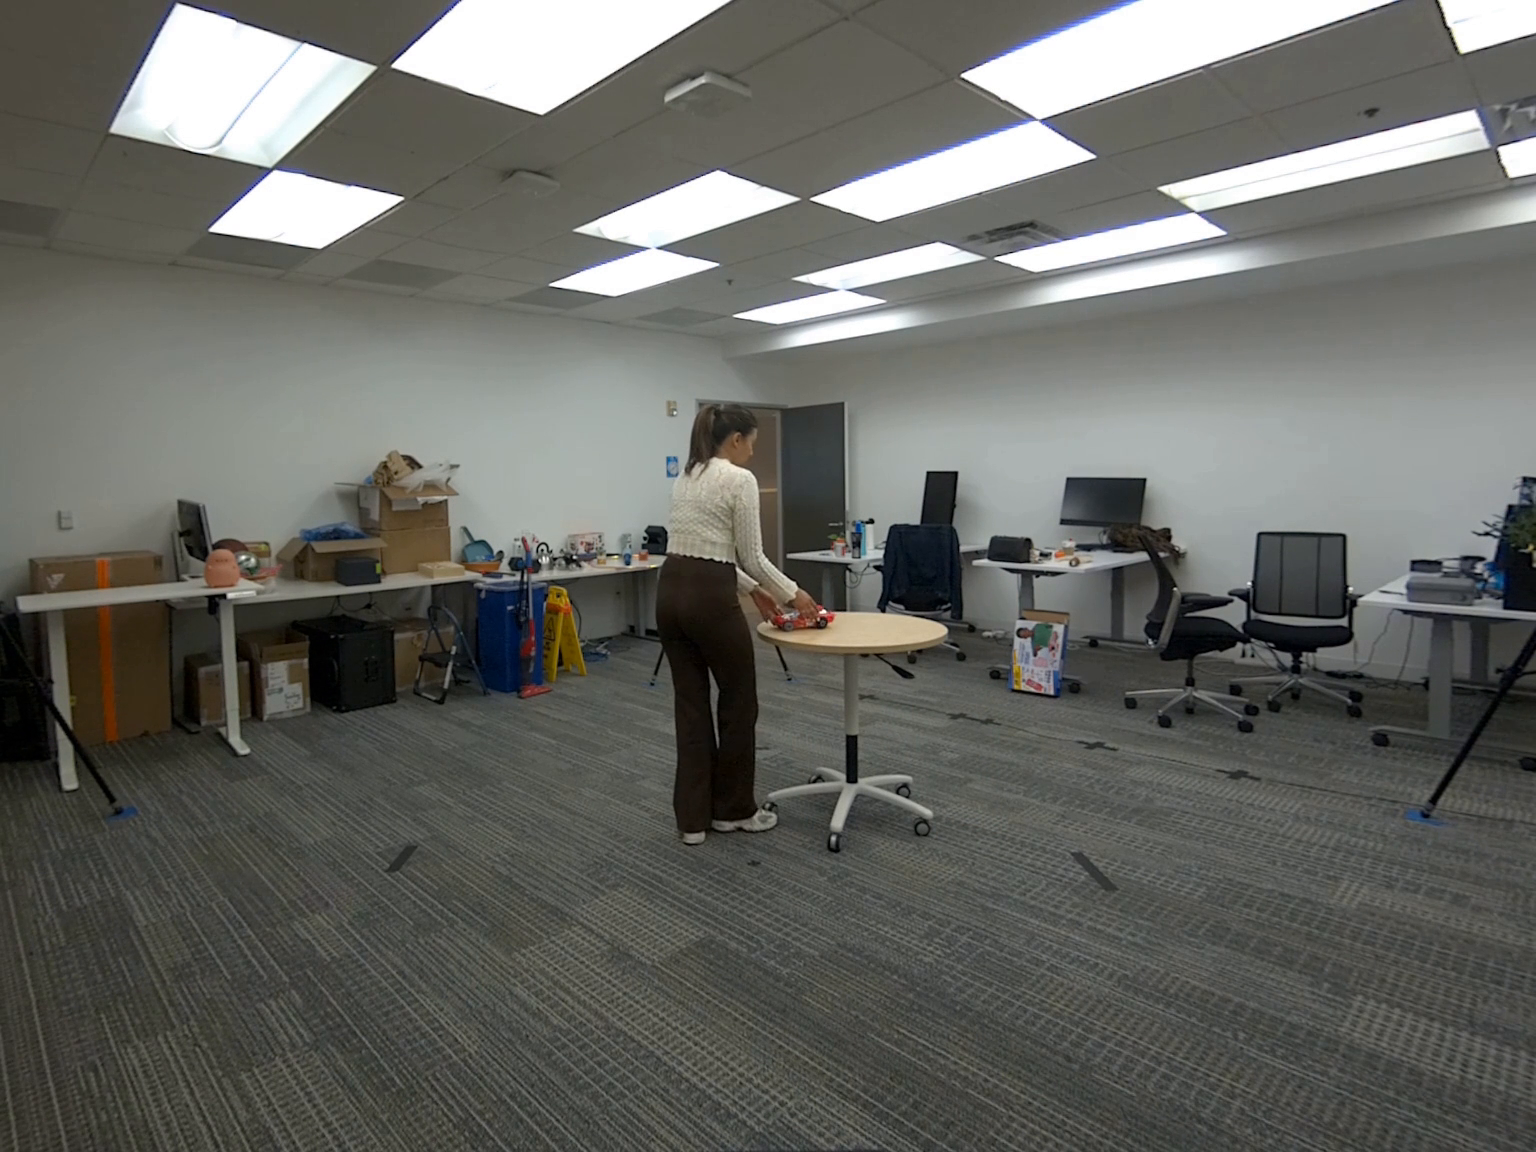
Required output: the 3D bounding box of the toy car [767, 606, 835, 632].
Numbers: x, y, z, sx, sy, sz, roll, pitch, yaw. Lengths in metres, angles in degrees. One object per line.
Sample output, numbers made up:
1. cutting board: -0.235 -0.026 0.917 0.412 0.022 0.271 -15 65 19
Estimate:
1. toy car: 0.156 0.181 3.495 0.252 0.082 0.133 -15 9 -15
